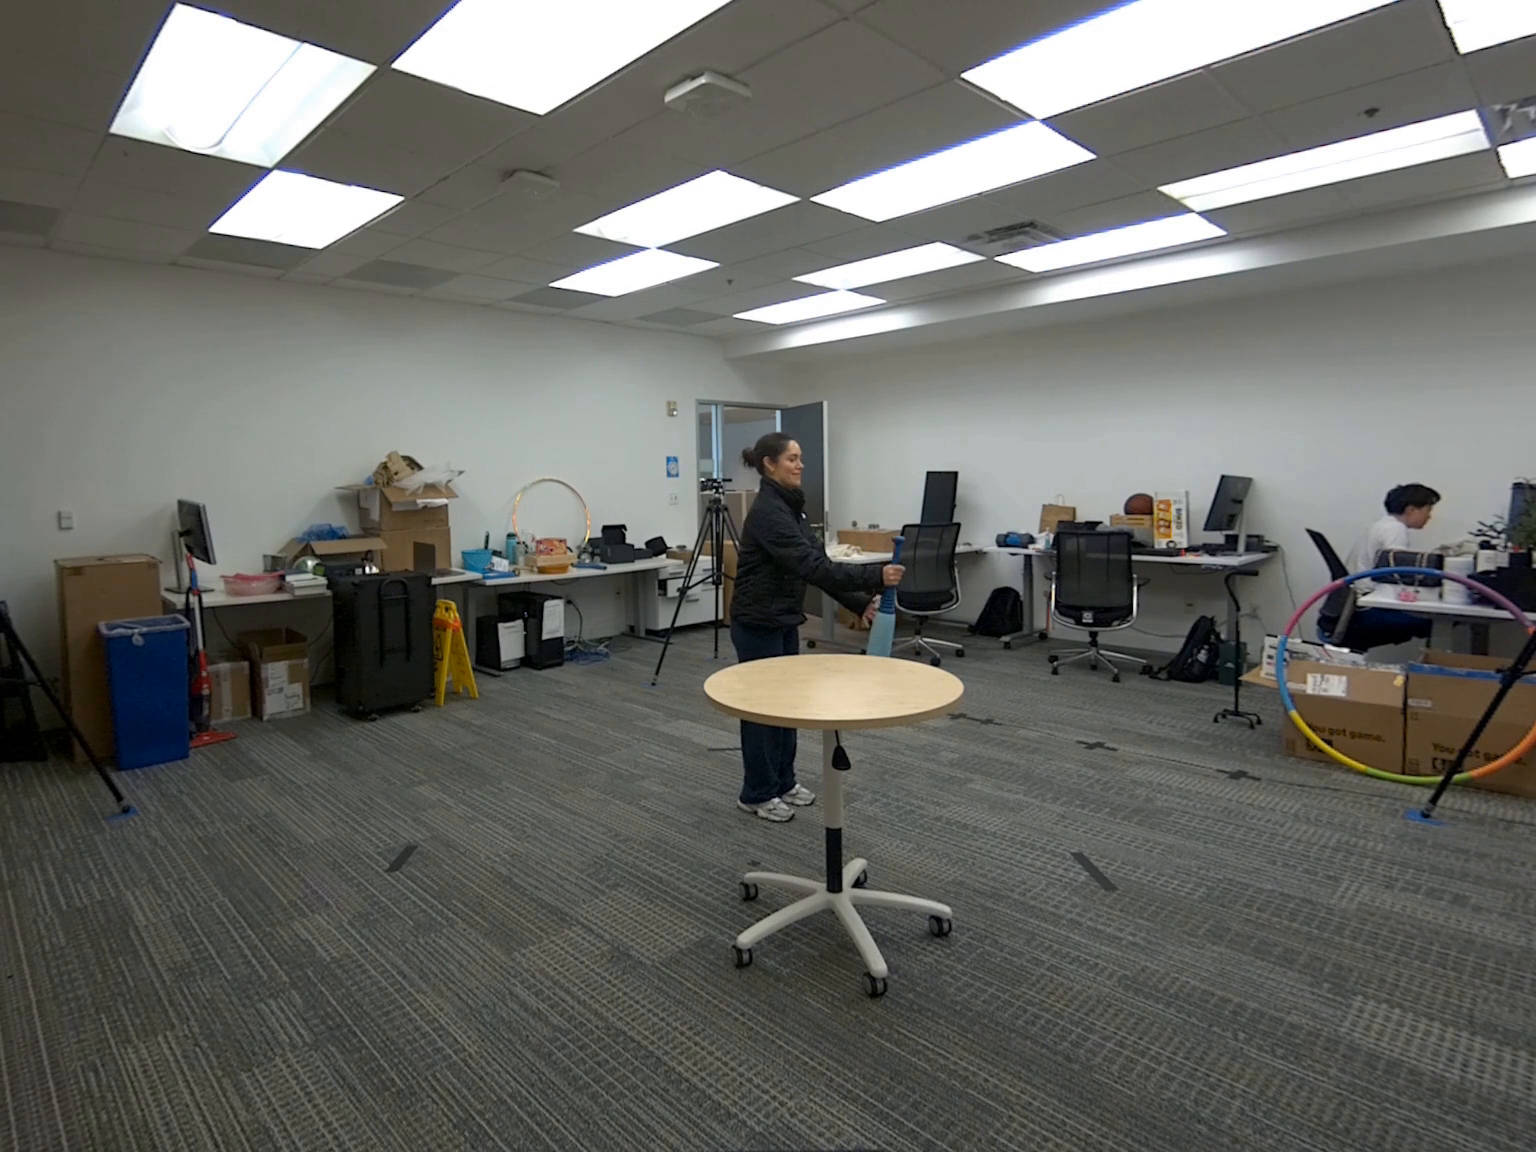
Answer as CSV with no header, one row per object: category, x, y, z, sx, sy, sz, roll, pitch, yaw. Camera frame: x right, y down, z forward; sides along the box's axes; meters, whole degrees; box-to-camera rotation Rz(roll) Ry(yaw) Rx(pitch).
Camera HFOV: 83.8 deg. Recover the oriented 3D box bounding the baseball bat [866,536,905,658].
baseball bat,0.434,0.100,3.243,0.089,0.538,0.090,10,12,-4
